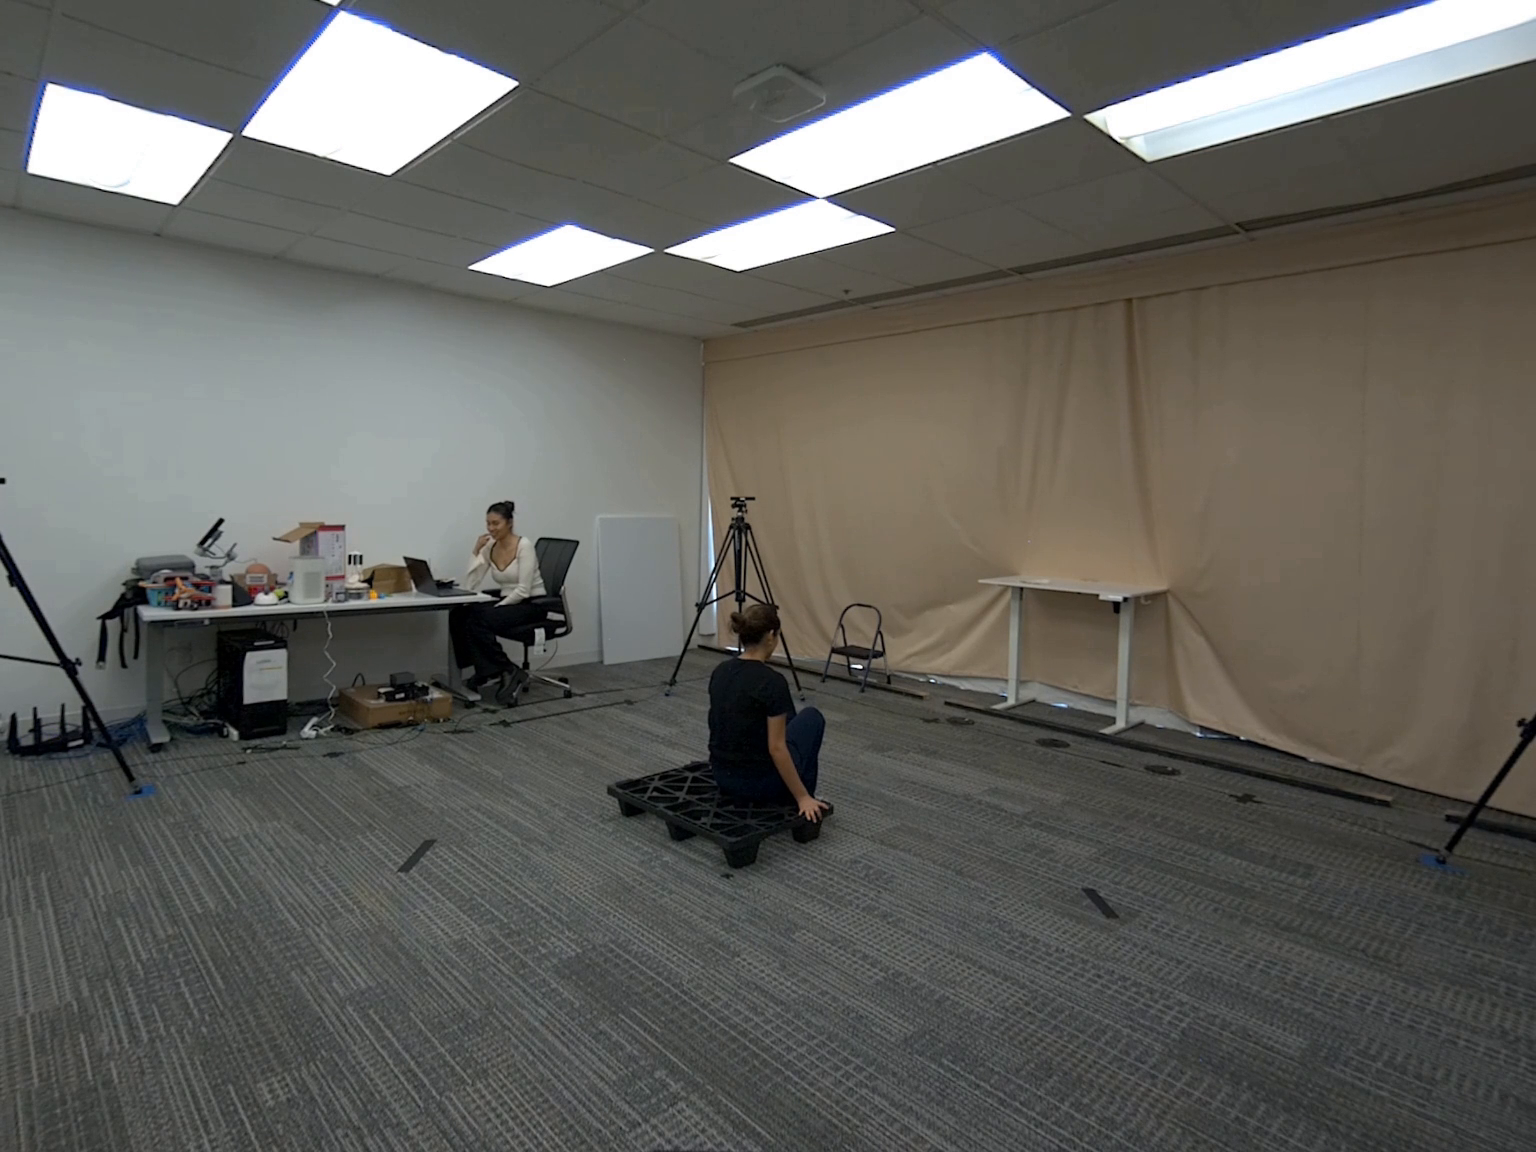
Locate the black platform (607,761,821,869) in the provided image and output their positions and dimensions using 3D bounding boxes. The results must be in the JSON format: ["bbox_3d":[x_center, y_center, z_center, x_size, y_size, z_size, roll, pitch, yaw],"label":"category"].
[{"bbox_3d":[-0.224,0.998,3.554,0.591,0.143,0.826,-5,7,-45],"label":"black platform"}]
